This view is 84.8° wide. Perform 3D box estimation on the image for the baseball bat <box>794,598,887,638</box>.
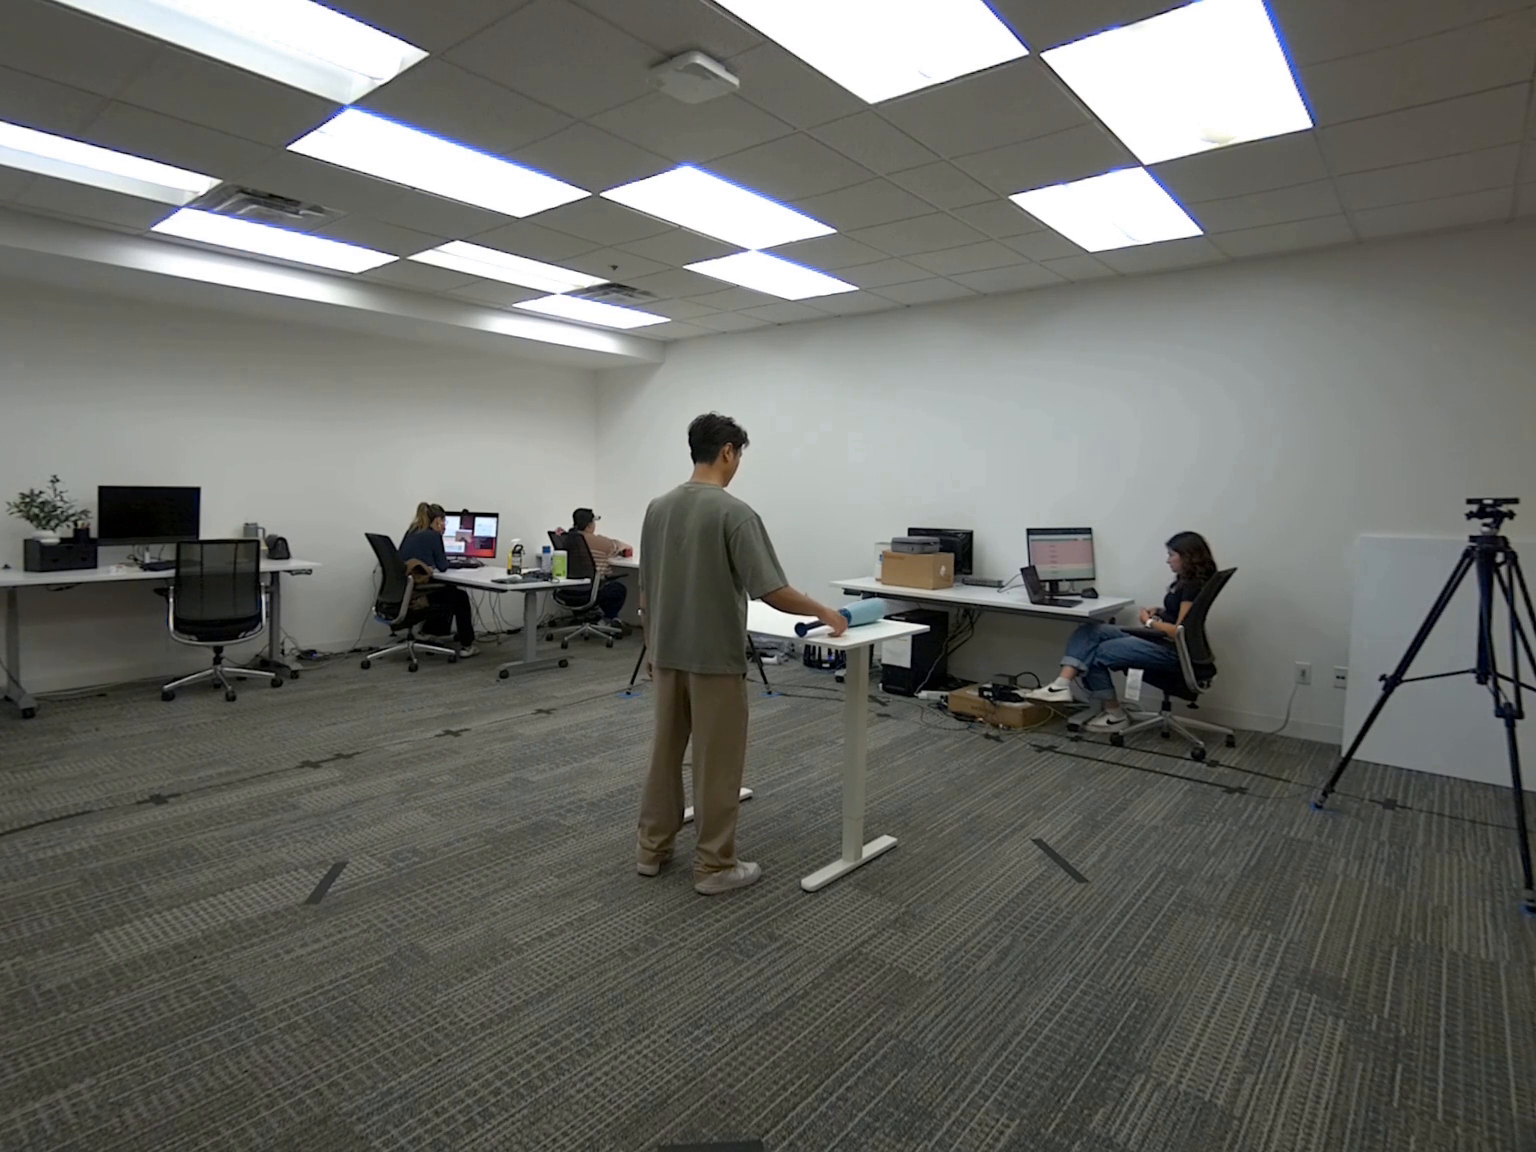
[{"bbox_3d":[0.265,0.156,3.147,0.092,0.088,0.528,4,10,40],"label":"baseball bat"}]
